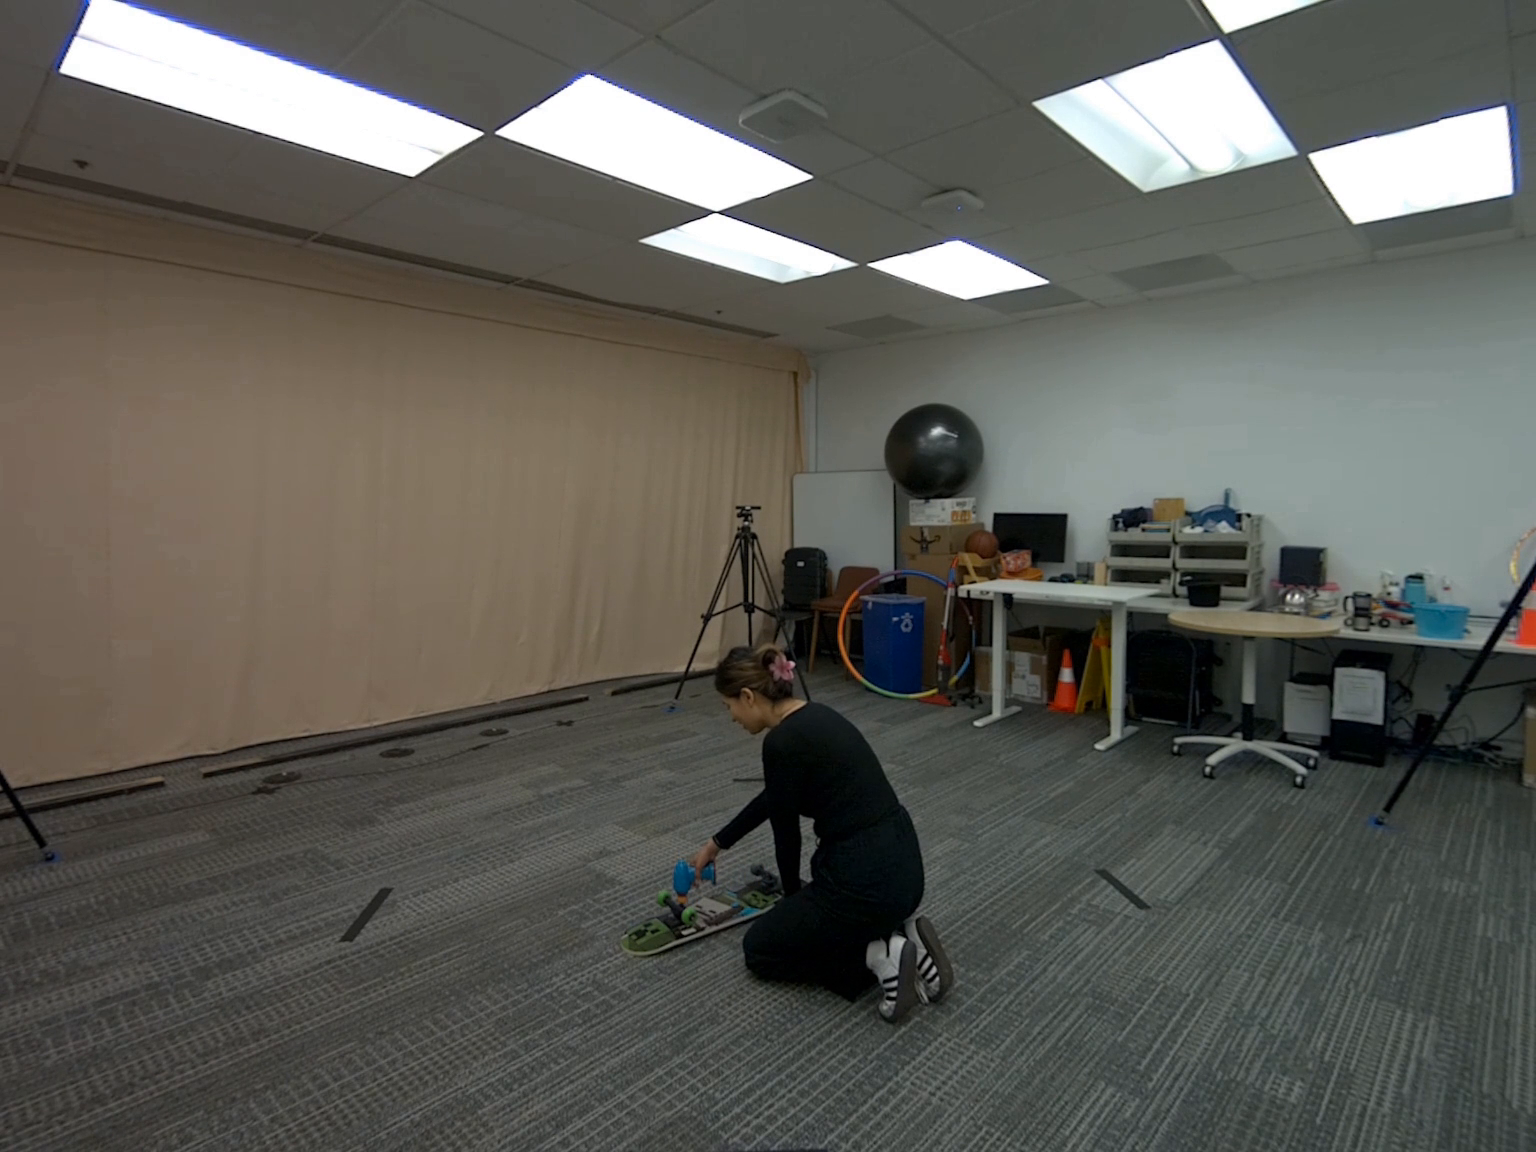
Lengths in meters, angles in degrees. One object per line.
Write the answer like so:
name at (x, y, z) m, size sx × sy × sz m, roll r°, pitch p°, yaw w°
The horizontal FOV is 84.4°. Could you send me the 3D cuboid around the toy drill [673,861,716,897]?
toy drill at (-0.247, 1.020, 2.789) m, size 0.145 × 0.170 × 0.061 m, roll -6°, pitch -1°, yaw -5°
